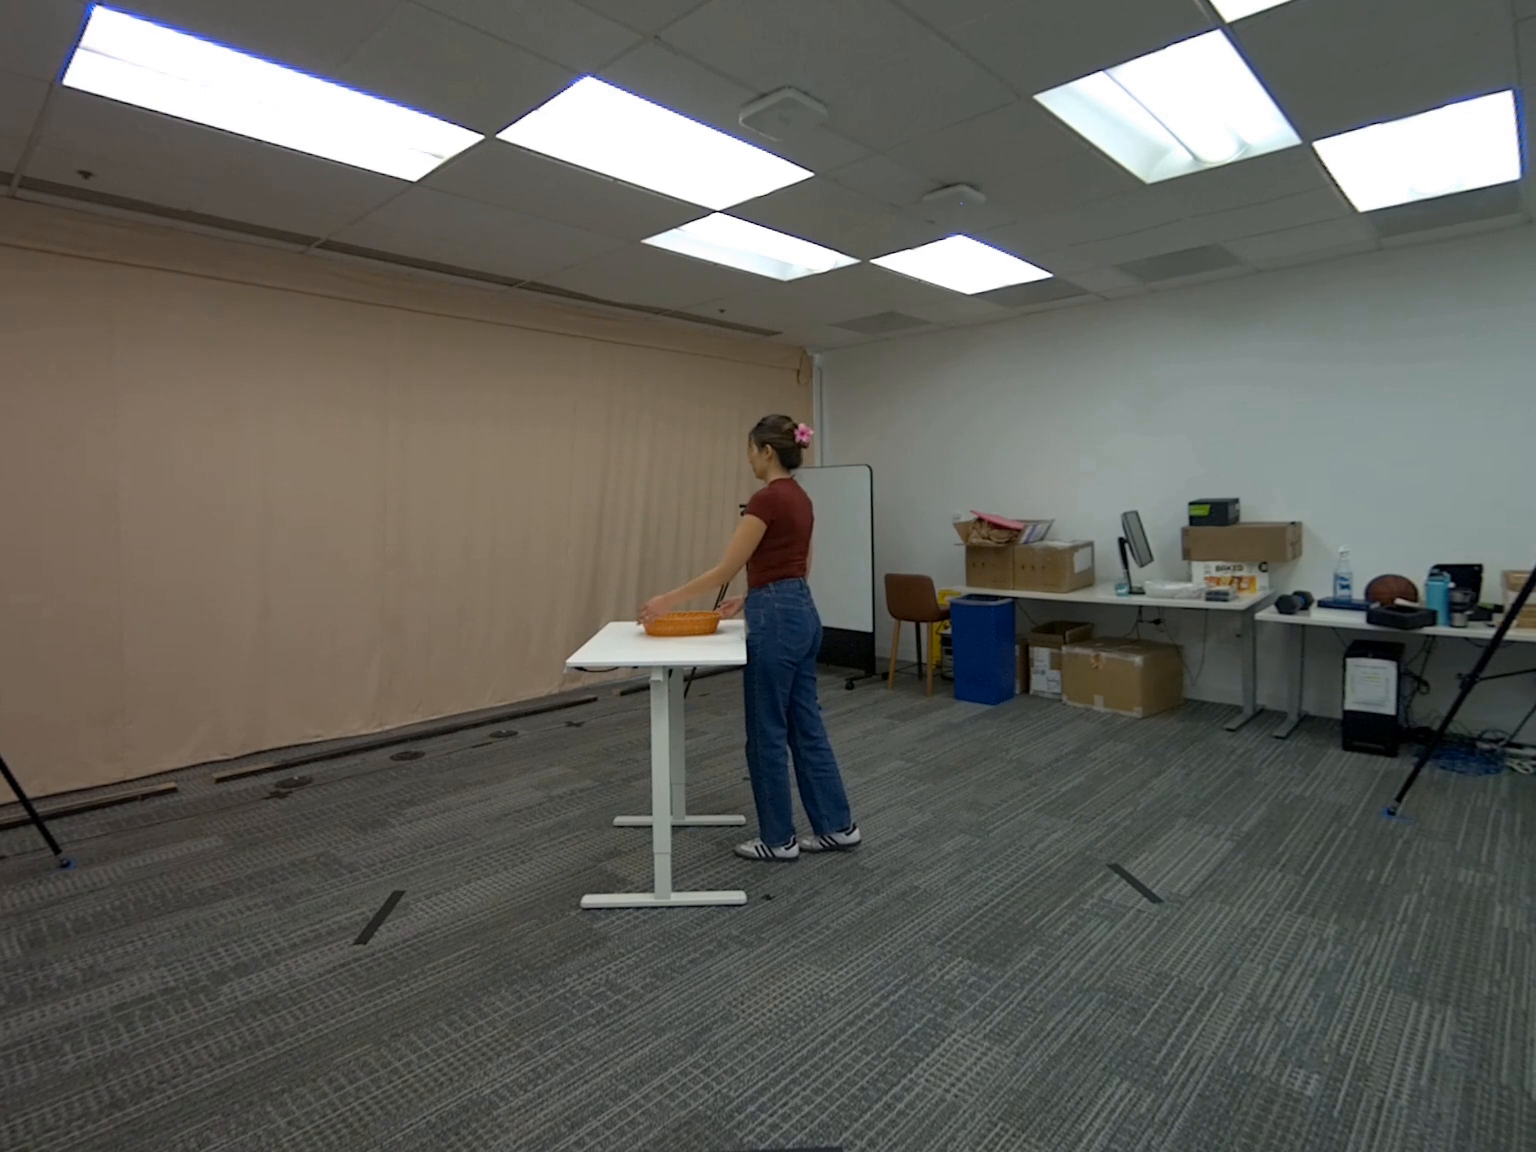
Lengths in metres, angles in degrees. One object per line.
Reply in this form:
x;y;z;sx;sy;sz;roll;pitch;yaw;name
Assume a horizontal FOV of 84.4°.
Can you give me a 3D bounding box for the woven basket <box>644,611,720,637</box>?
-0.352;0.199;3.417;0.347;0.073;0.255;-2;3;-9;woven basket
